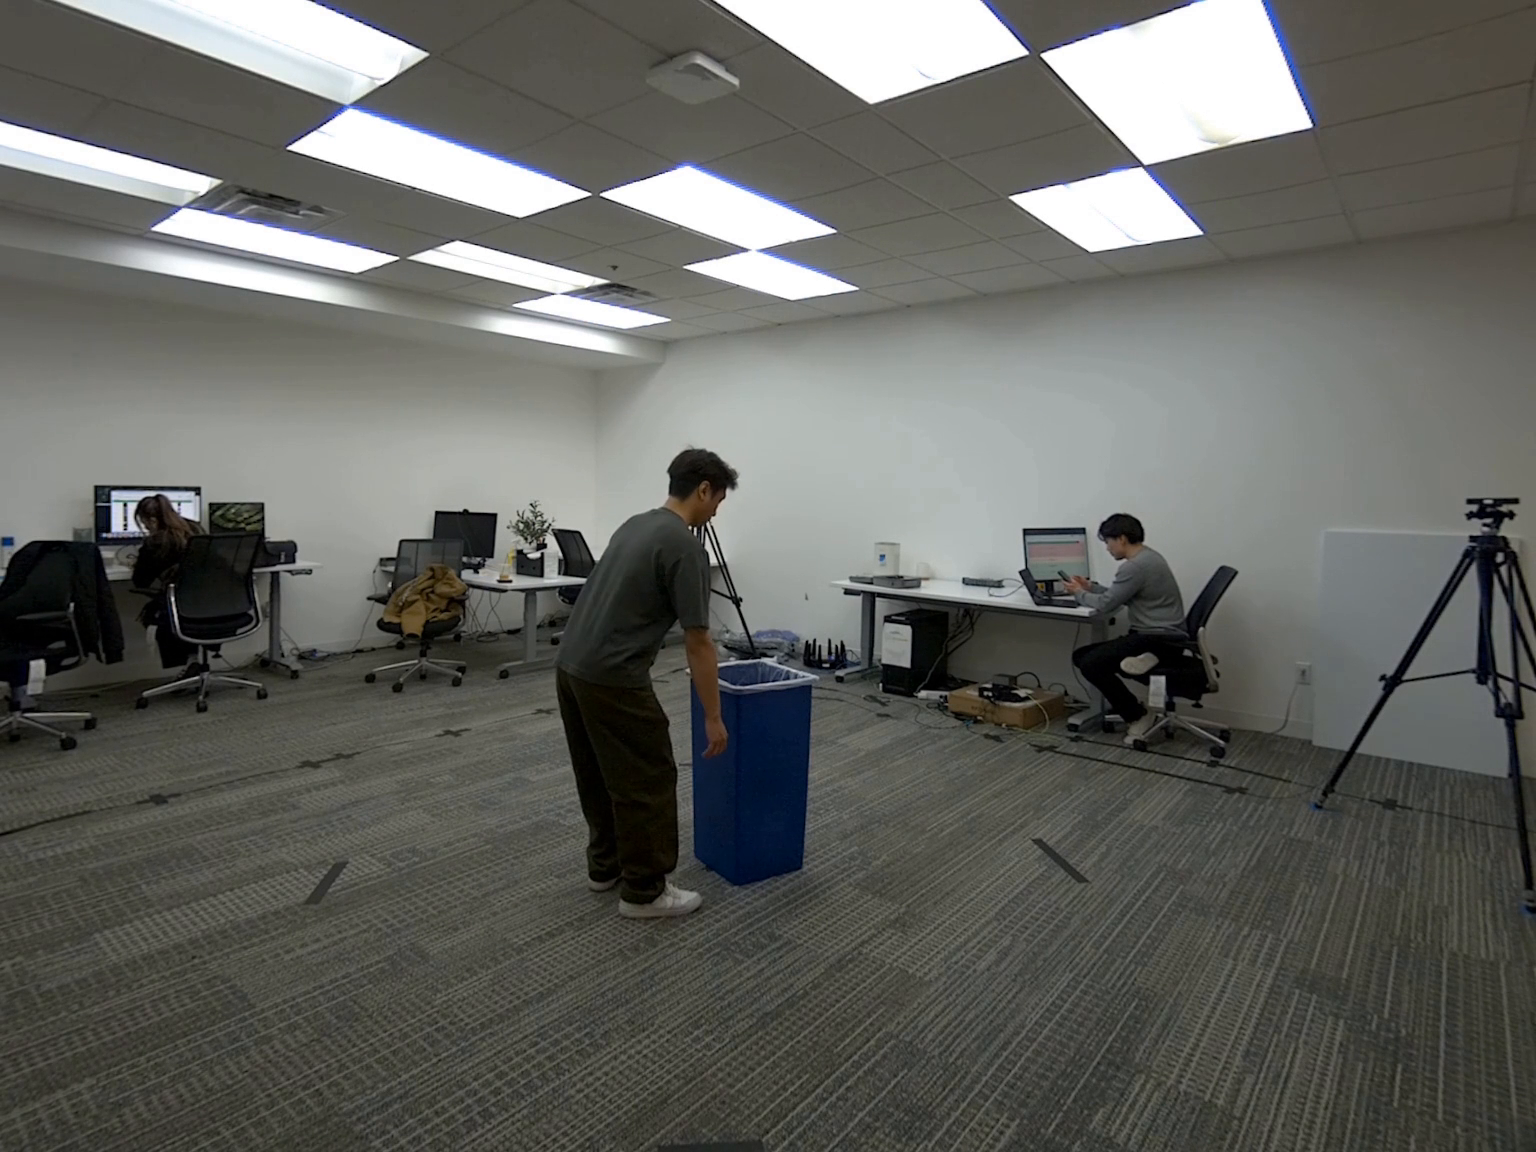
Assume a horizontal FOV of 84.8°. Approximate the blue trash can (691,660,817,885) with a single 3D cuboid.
[{"bbox_3d":[-0.087,0.704,3.157,0.367,0.711,0.386,-2,5,-35],"label":"blue trash can"}]
